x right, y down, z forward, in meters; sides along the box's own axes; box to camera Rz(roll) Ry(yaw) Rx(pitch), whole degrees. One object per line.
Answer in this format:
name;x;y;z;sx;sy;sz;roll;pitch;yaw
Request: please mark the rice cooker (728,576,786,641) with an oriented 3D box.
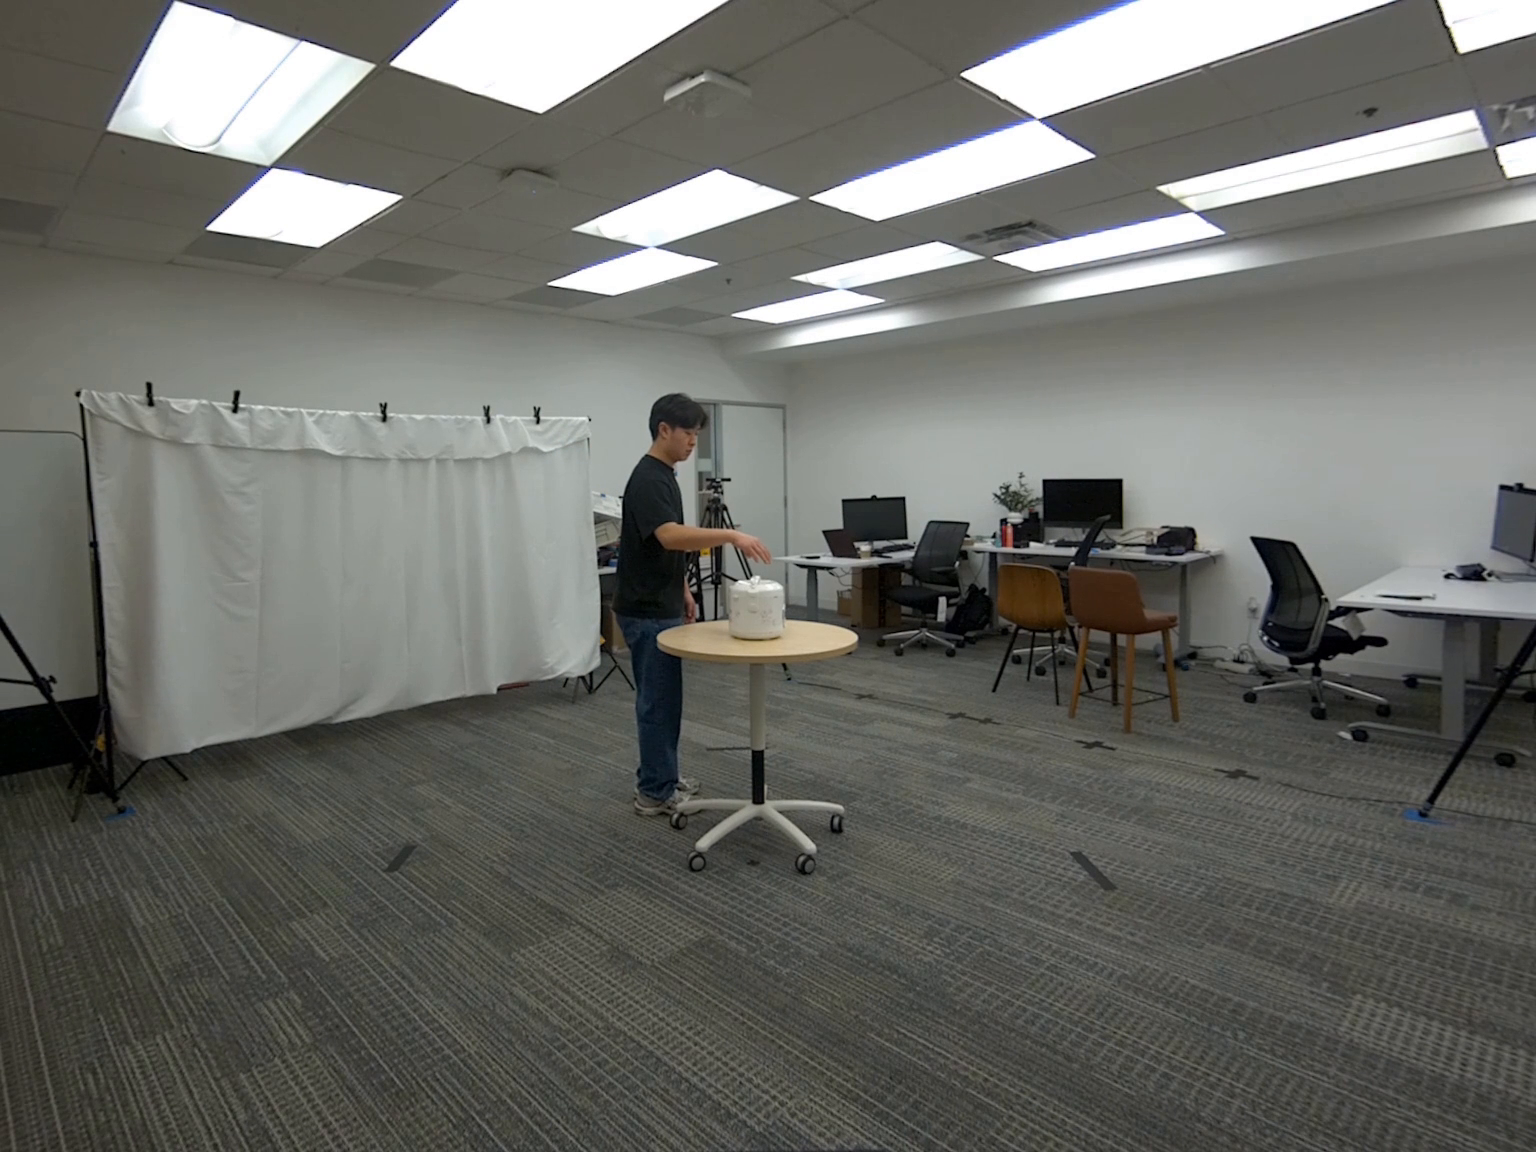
rice cooker;-0.040;0.112;3.244;0.219;0.232;0.219;0;4;8
